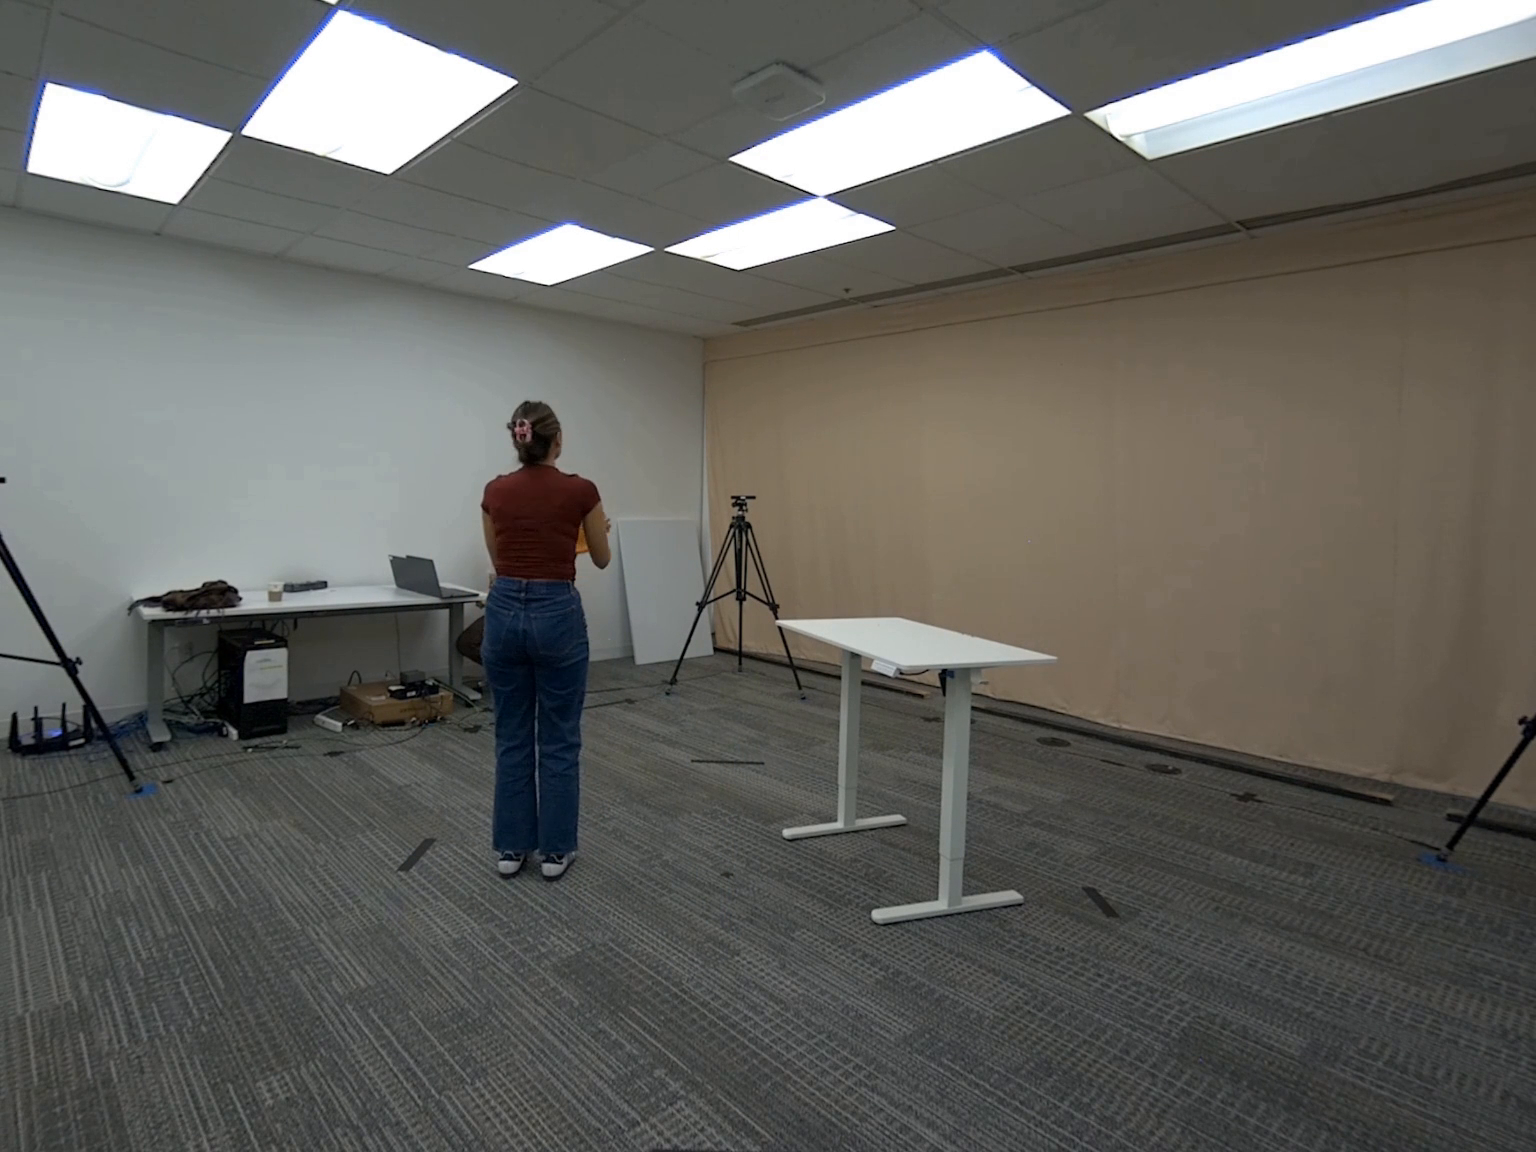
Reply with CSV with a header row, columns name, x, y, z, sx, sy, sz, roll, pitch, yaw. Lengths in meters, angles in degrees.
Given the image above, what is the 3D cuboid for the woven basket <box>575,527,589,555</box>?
name,x,y,z,sx,sy,sz,roll,pitch,yaw
woven basket,-0.857,-0.211,3.564,0.349,0.252,0.074,0,1,-4
